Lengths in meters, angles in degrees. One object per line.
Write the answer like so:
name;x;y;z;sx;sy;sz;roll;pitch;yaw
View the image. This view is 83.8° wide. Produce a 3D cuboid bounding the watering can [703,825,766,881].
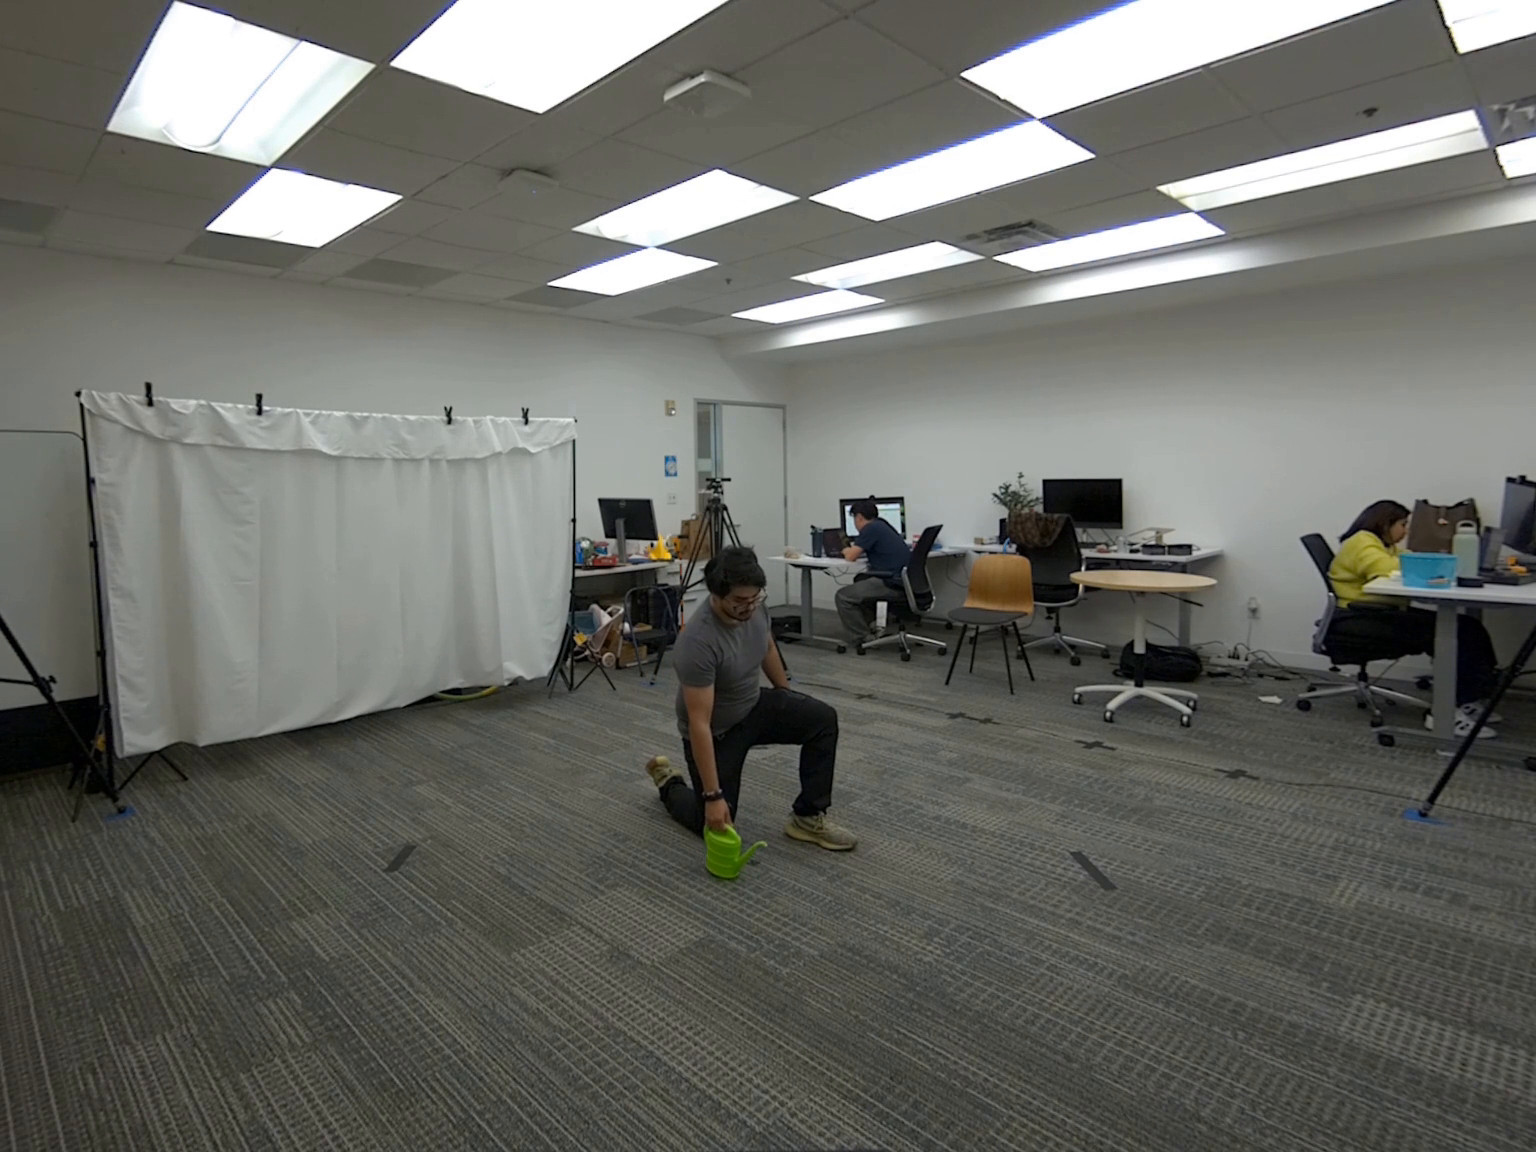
watering can;-0.131;0.972;2.983;0.095;0.176;0.287;-1;10;-34
